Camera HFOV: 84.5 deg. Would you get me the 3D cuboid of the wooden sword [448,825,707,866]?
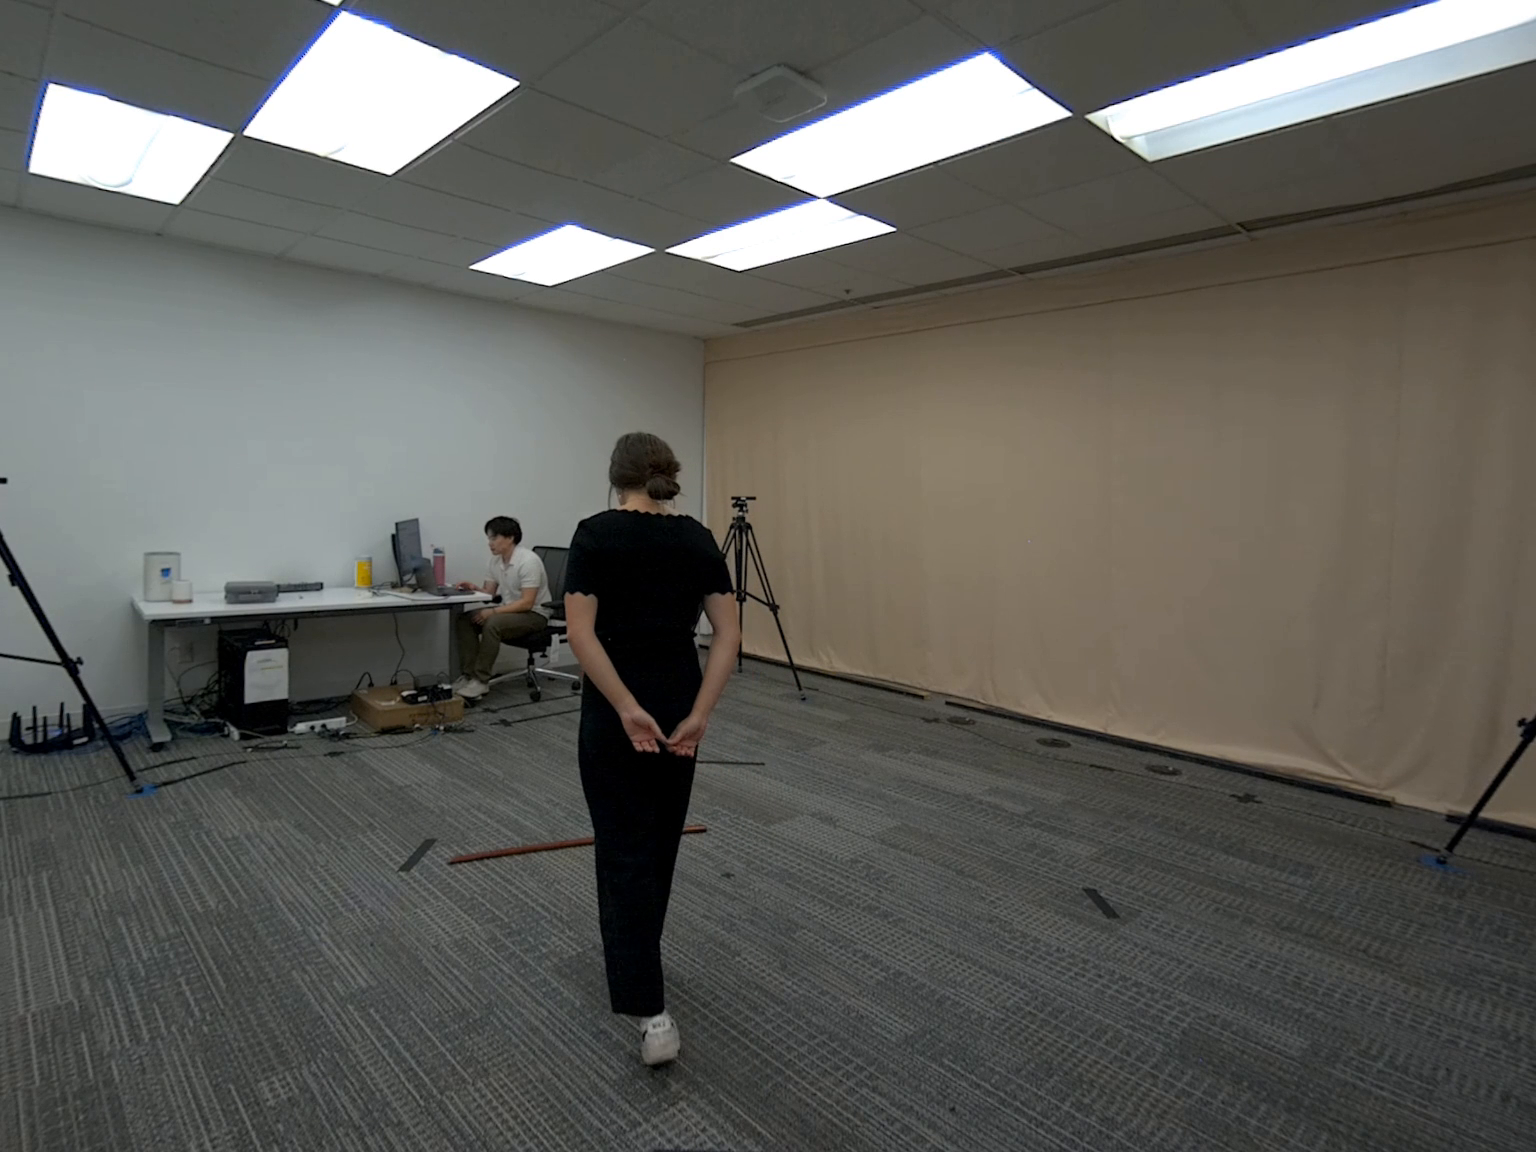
[{"bbox_3d":[-0.730,1.051,3.335,1.008,0.024,0.052,-1,-3,-21],"label":"wooden sword"}]
